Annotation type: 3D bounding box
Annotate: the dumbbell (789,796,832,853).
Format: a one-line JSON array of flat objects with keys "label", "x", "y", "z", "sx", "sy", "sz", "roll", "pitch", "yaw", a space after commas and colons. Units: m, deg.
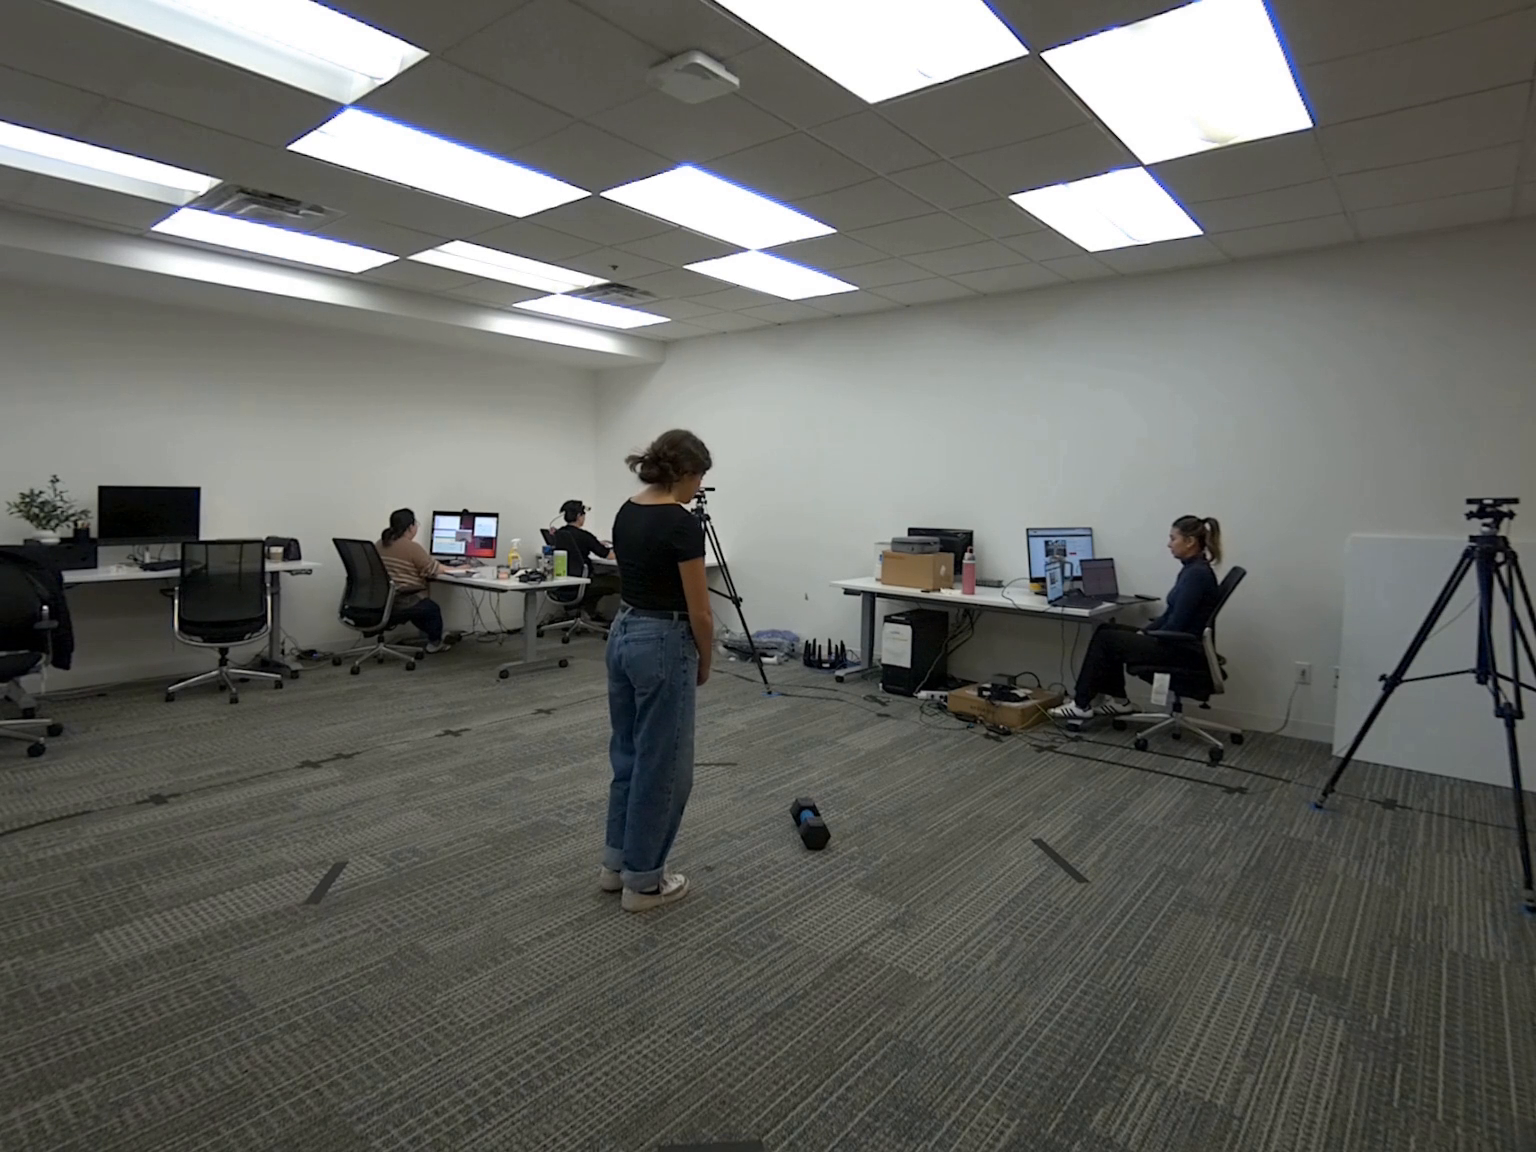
[{"label": "dumbbell", "x": 0.160, "y": 0.990, "z": 3.426, "sx": 0.108, "sy": 0.122, "sz": 0.297, "roll": -30, "pitch": 9, "yaw": -4}]
